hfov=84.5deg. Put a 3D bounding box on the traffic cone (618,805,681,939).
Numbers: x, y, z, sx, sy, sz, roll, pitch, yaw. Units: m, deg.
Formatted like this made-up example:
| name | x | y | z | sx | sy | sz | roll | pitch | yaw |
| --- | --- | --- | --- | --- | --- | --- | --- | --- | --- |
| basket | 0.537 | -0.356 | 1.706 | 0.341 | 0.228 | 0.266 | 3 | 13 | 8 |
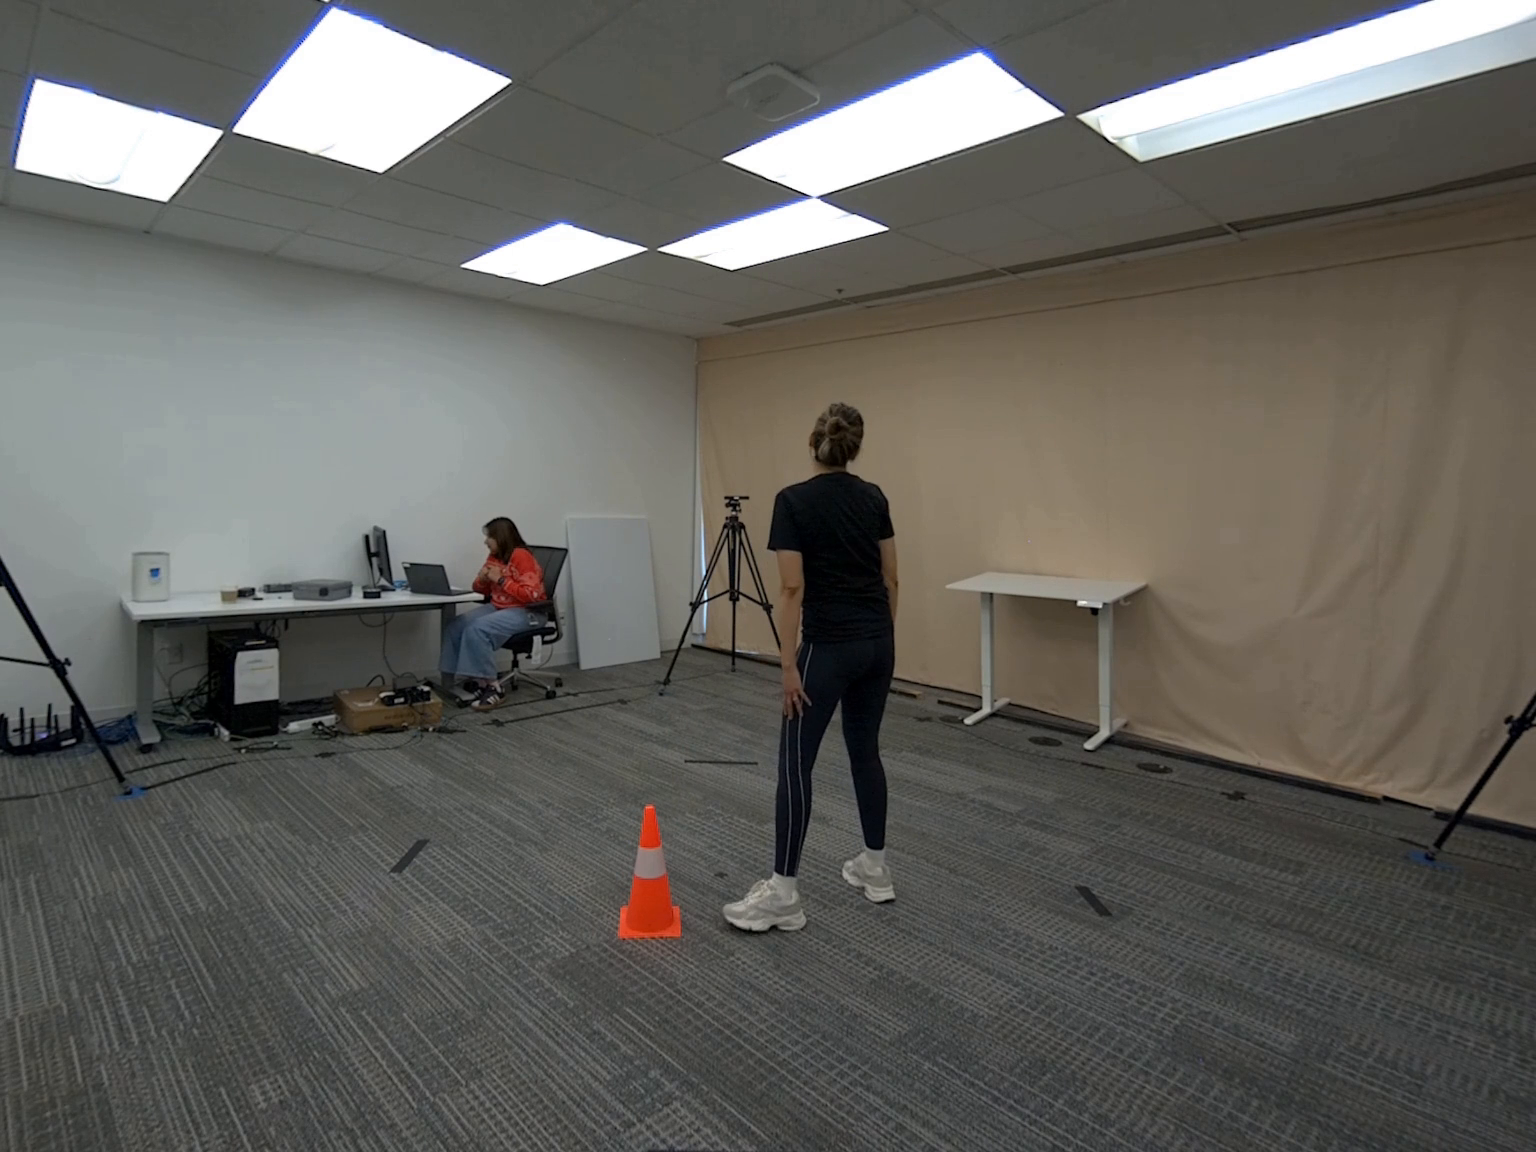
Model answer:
| name | x | y | z | sx | sy | sz | roll | pitch | yaw |
| --- | --- | --- | --- | --- | --- | --- | --- | --- | --- |
| traffic cone | -0.387 | 0.945 | 2.742 | 0.203 | 0.383 | 0.206 | 2 | 2 | -4 |
